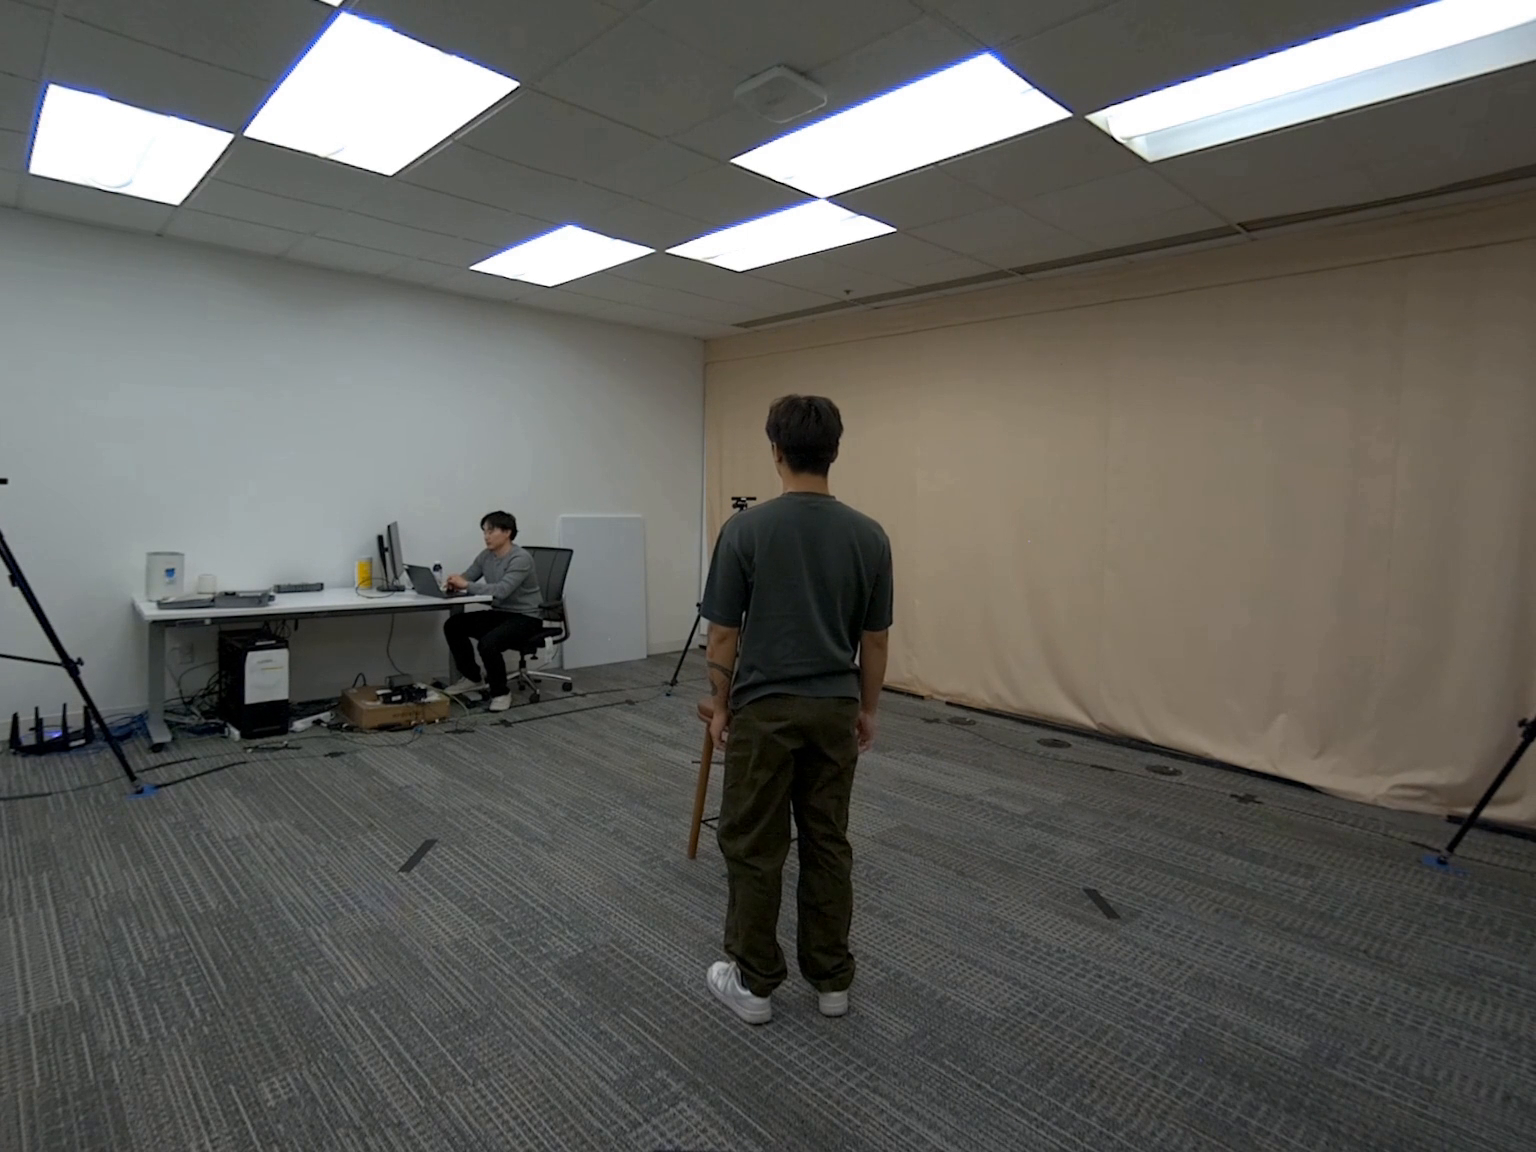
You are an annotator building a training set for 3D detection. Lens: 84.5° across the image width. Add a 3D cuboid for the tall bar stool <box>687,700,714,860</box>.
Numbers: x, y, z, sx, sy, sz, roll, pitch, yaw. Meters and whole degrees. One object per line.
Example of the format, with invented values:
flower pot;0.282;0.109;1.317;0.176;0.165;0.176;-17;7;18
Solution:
tall bar stool;-0.001;0.667;3.219;0.456;0.888;0.468;1;3;-39
